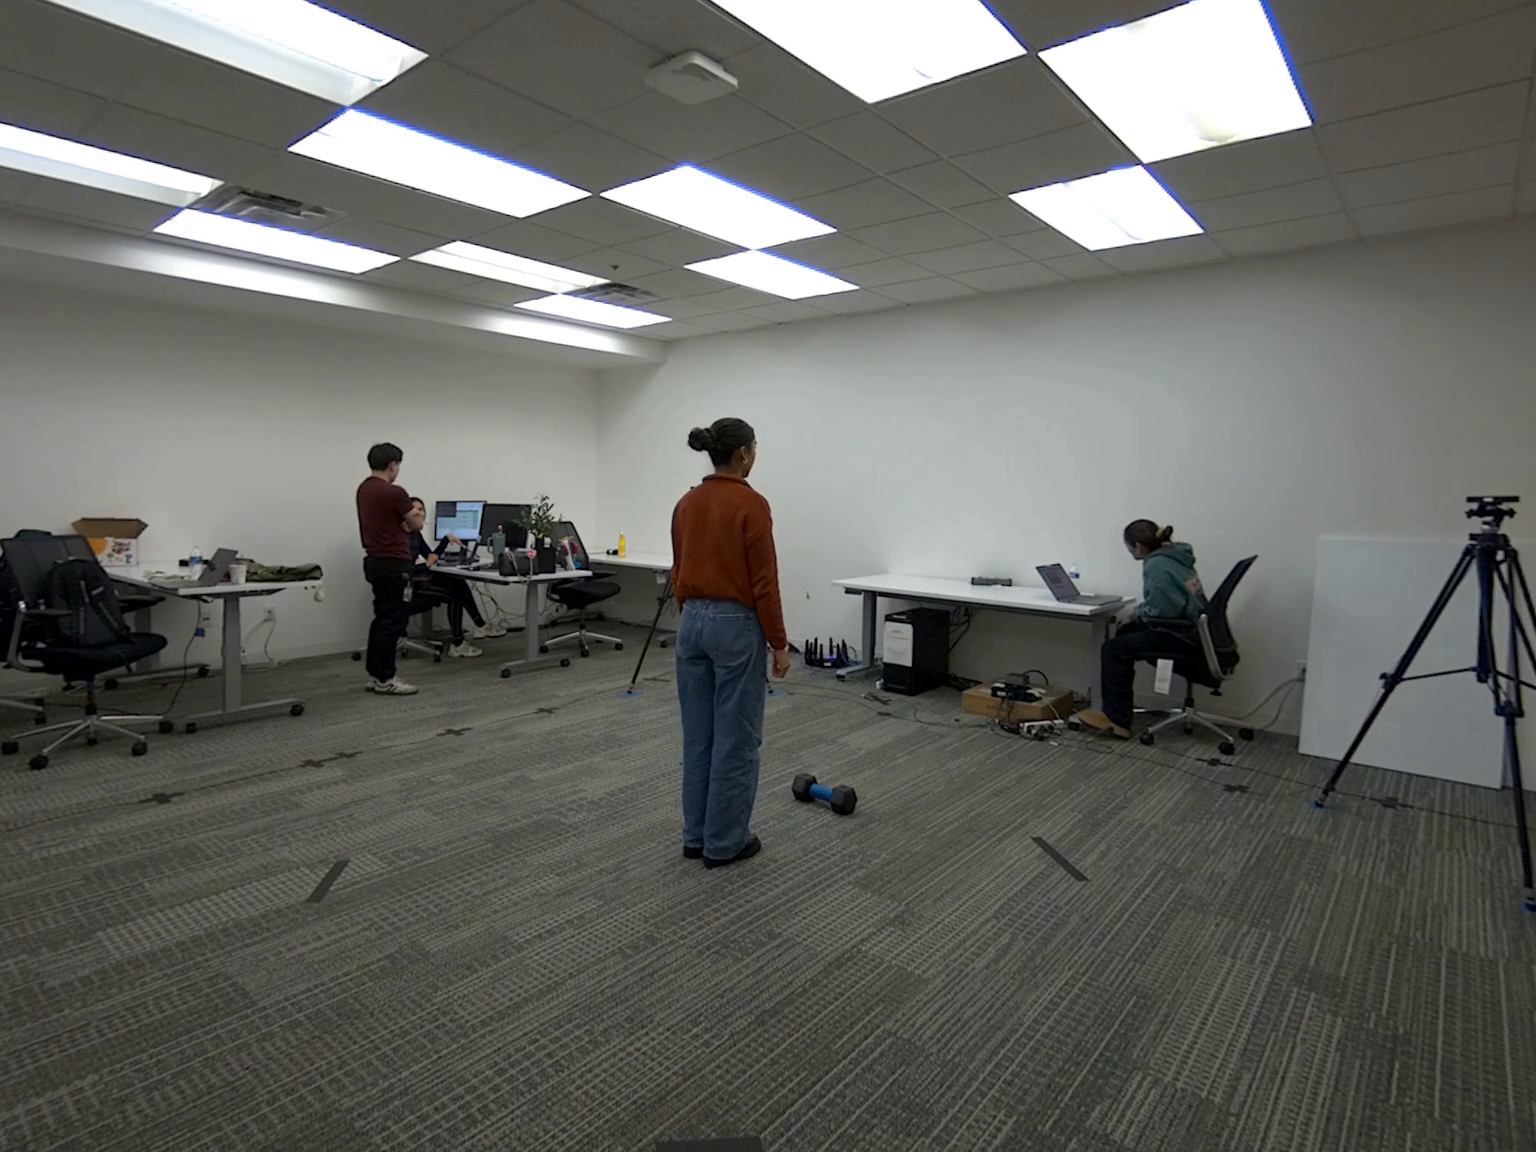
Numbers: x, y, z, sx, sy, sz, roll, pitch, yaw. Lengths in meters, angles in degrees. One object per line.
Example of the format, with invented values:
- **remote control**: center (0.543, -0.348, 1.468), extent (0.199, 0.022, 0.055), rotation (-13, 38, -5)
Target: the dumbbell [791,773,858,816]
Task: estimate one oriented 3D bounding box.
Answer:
- **dumbbell**: center (0.240, 0.957, 3.754), extent (0.304, 0.119, 0.108), rotation (6, 36, 43)
